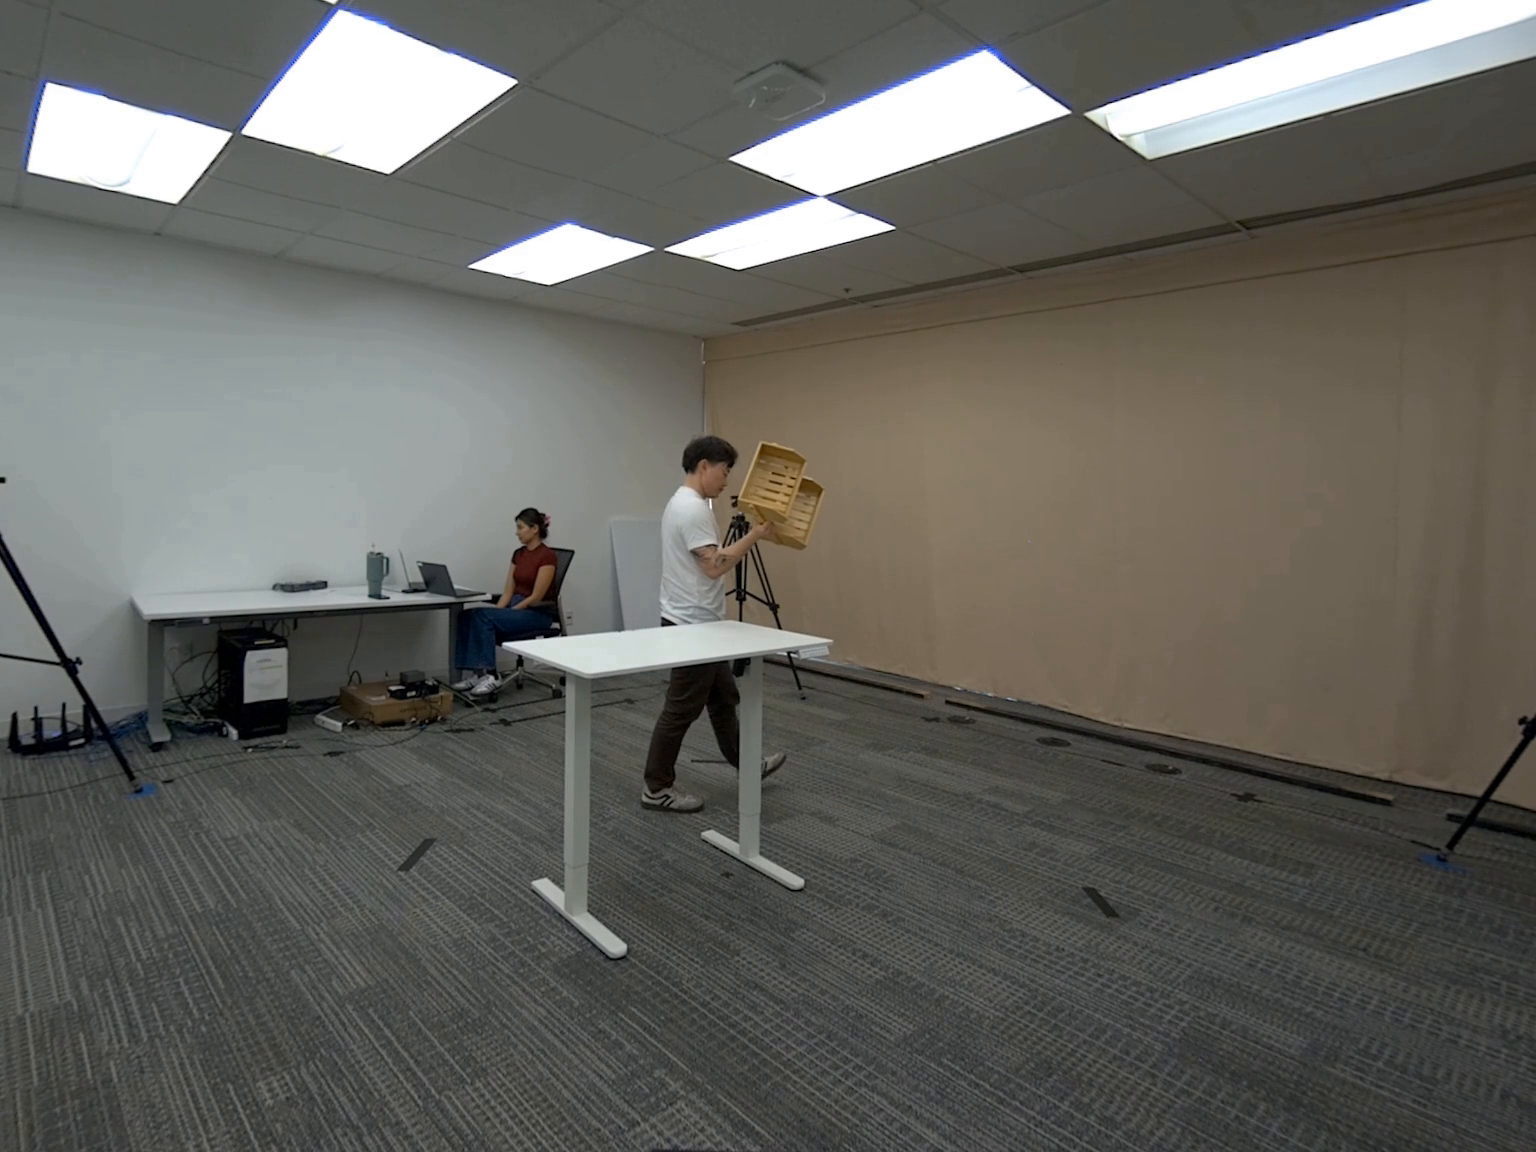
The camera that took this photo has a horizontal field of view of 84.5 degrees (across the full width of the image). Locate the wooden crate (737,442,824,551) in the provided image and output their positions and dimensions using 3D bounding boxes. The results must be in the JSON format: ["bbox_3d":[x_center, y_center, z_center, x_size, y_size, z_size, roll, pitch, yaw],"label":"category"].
[{"bbox_3d":[0.062,-0.331,3.481,0.305,0.327,0.268,17,-27,9],"label":"wooden crate"}]
